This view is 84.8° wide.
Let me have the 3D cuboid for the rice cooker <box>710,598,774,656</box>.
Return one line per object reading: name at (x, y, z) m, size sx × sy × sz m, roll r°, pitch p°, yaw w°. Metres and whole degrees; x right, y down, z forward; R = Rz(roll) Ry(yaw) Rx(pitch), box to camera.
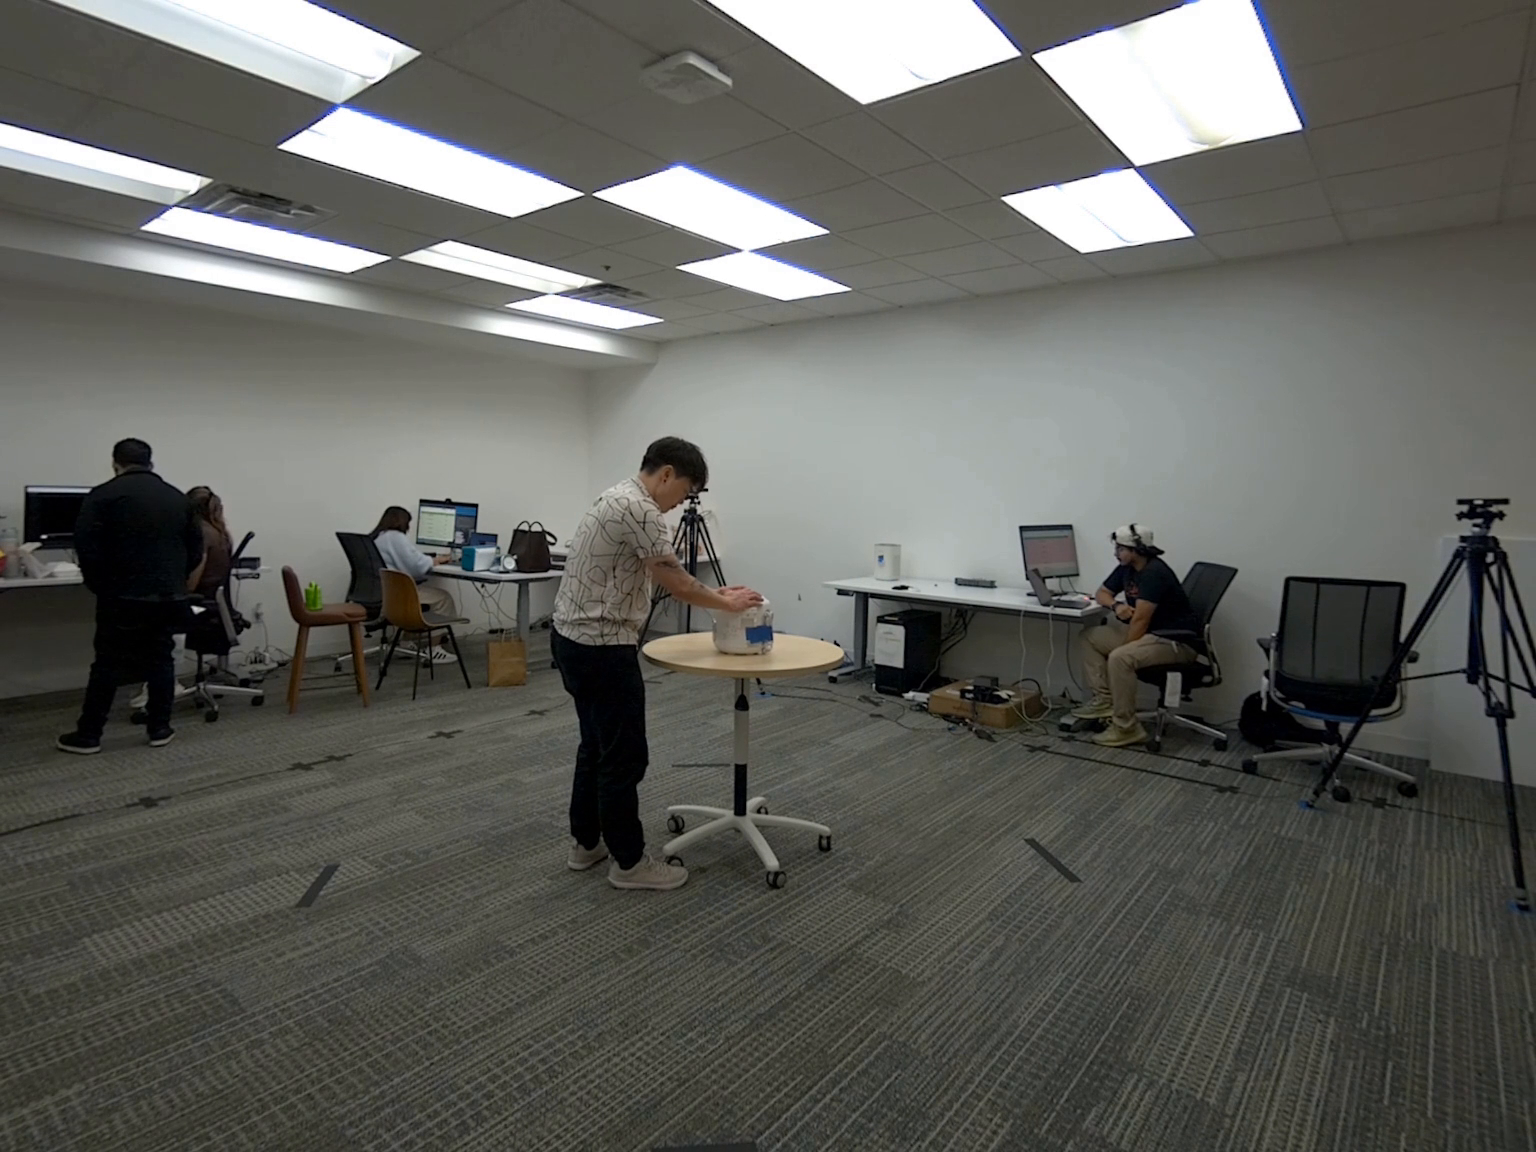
rice cooker at (-0.105, 0.169, 3.188) m, size 0.215 × 0.232 × 0.223 m, roll 1°, pitch 2°, yaw -10°
